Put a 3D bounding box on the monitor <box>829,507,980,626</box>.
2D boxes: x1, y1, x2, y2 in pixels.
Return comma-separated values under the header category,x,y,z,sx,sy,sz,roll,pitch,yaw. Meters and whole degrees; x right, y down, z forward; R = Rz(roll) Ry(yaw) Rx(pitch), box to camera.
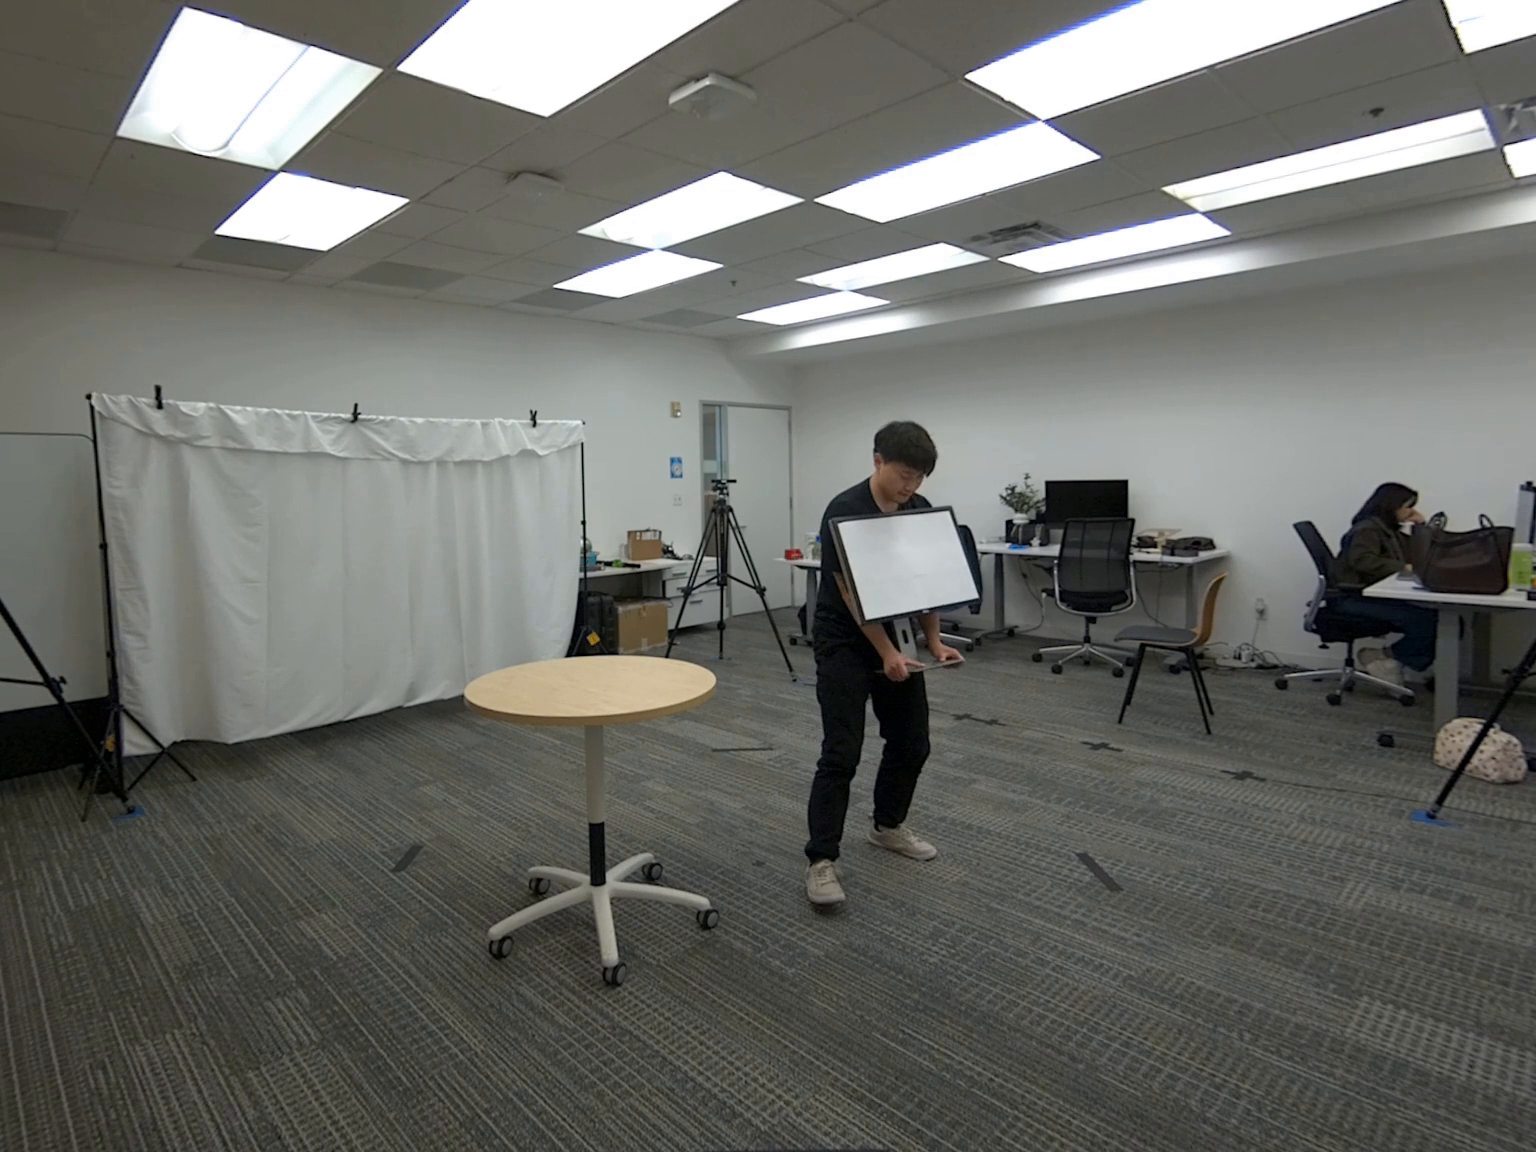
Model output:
category,x,y,z,sx,sy,sz,roll,pitch,yaw
monitor,0.468,0.050,2.904,0.526,0.525,0.191,-6,-5,-32
